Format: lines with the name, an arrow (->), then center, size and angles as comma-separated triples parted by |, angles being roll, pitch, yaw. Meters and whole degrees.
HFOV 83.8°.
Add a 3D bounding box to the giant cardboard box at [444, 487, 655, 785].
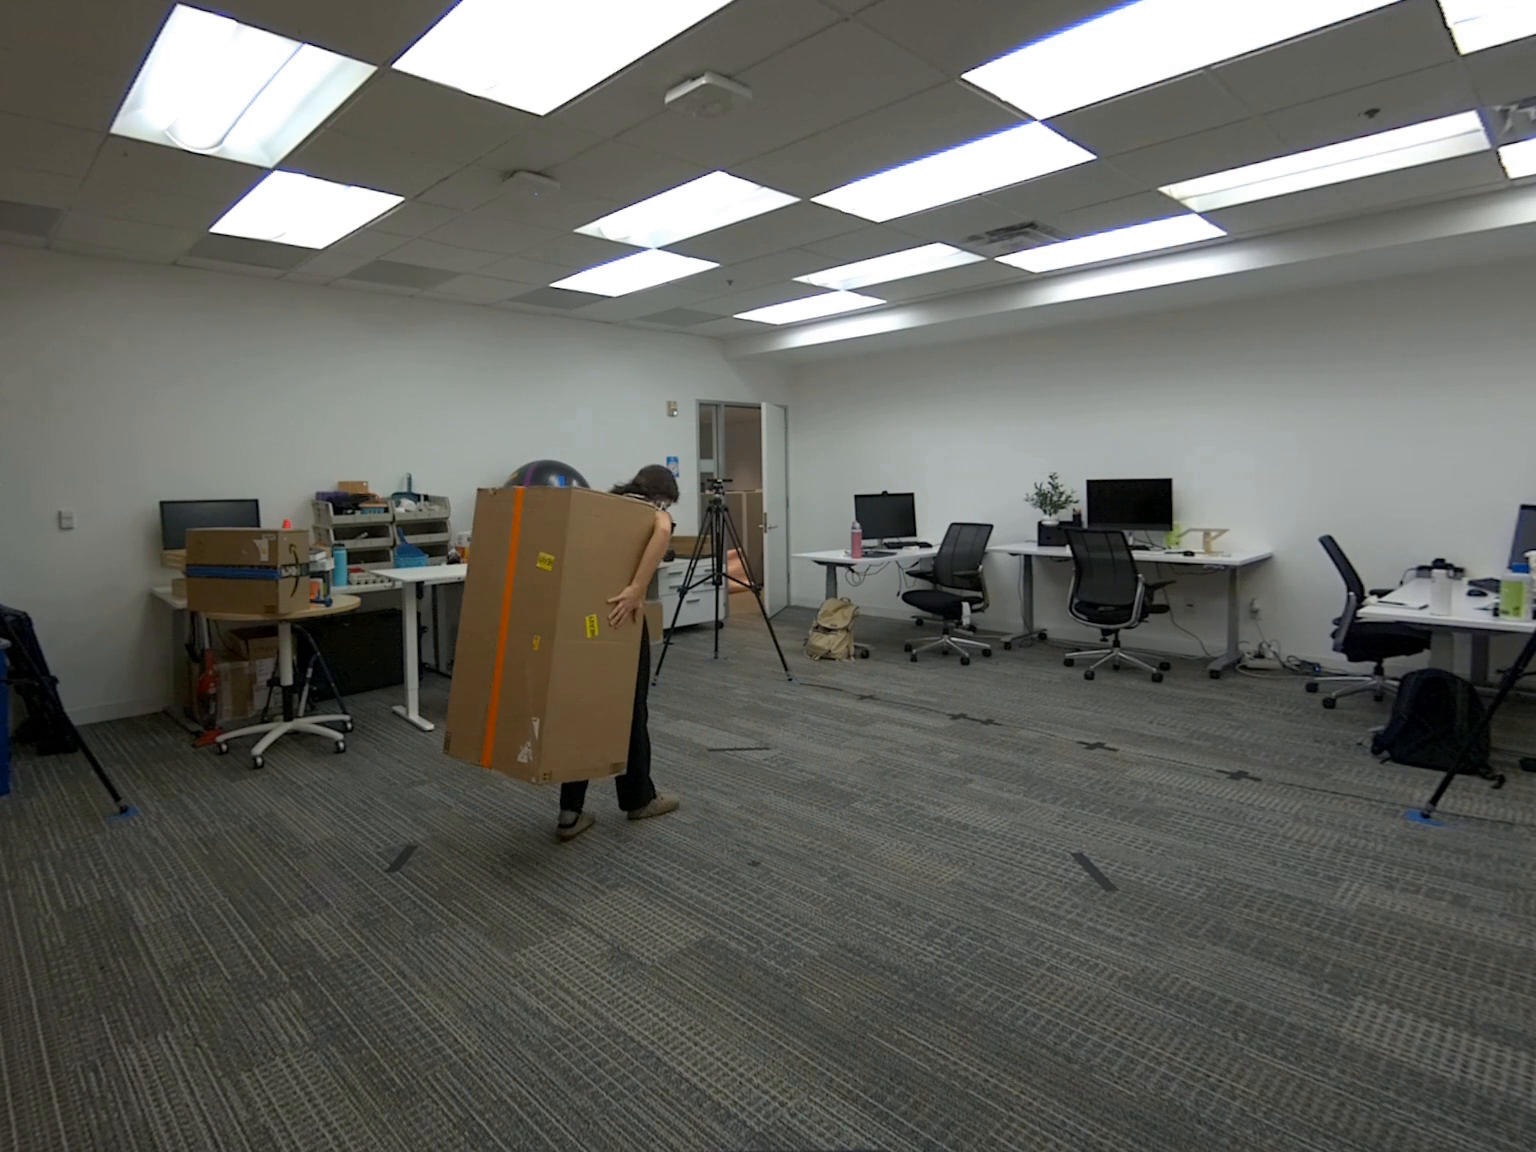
giant cardboard box -> -0.836, 0.202, 3.240 | 0.595, 1.029, 0.412 | 3, -5, 38
